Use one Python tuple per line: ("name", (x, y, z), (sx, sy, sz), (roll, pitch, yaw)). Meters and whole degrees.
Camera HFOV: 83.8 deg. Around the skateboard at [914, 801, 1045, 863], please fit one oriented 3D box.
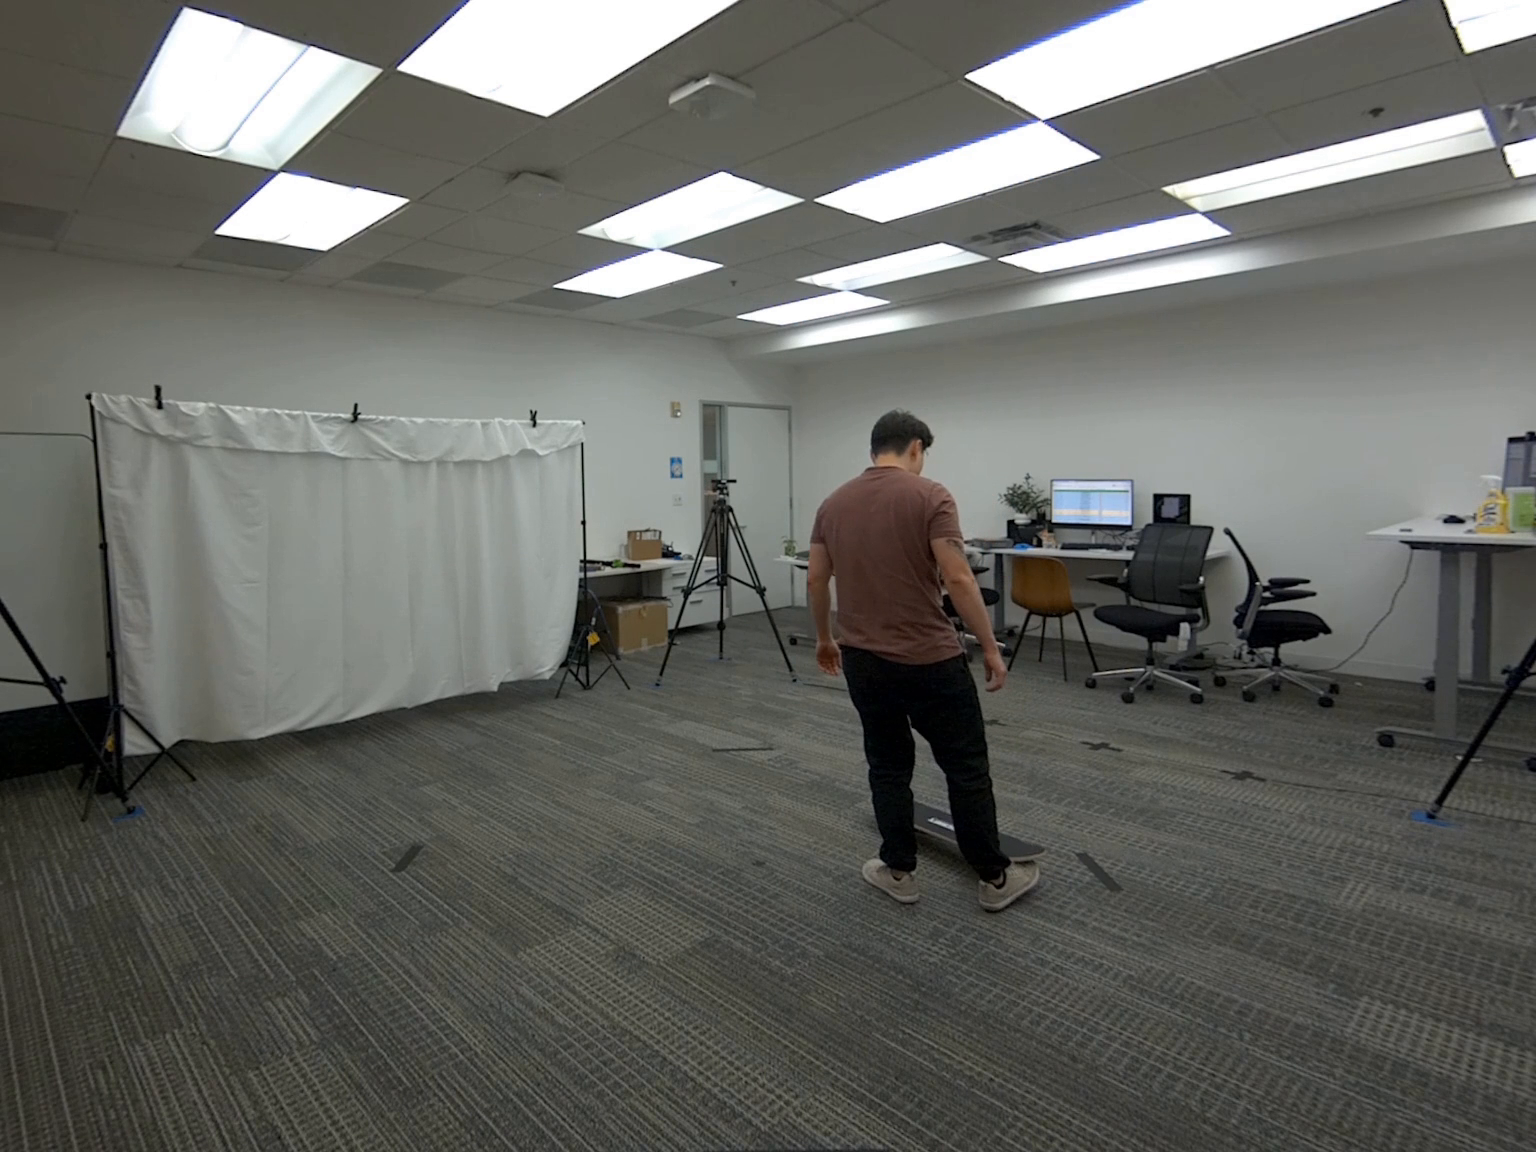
("skateboard", (0.679, 0.967, 3.176), (0.189, 0.110, 0.807), (-5, 5, -33))
